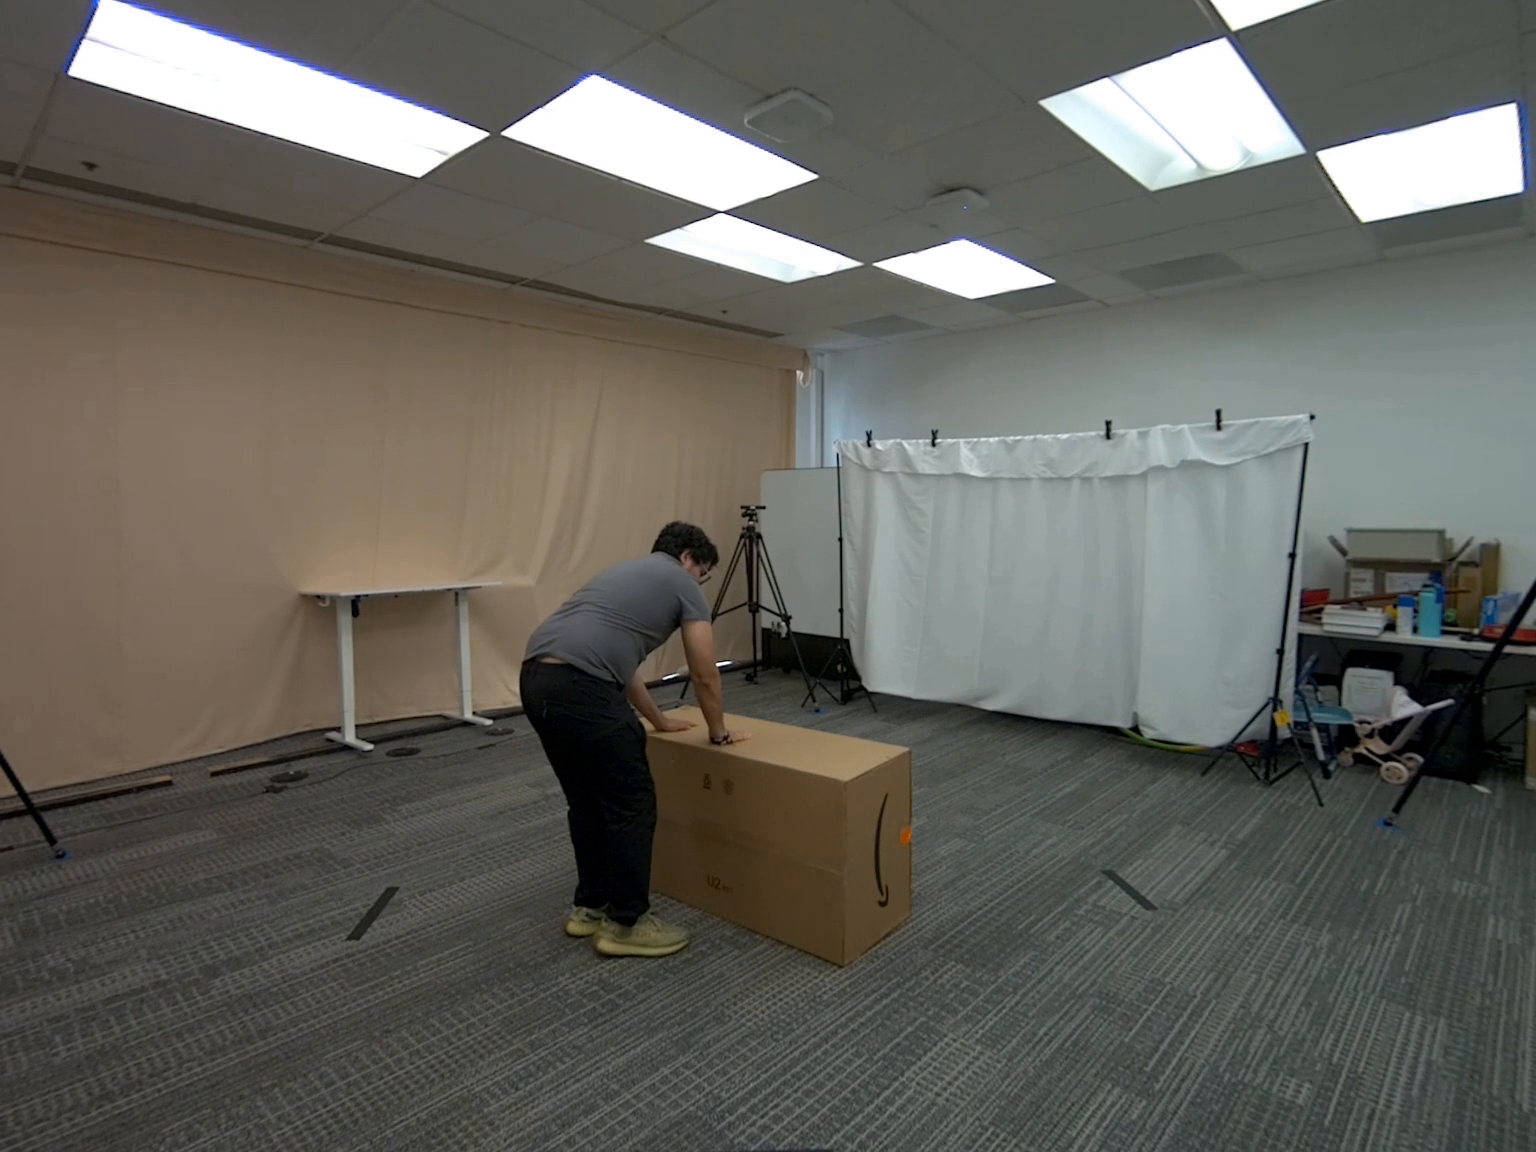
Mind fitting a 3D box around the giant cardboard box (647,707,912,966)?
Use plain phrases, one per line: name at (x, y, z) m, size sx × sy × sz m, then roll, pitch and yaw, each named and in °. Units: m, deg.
giant cardboard box at (-0.045, 0.854, 3.003) m, size 1.059 × 0.576 × 0.413 m, roll 3°, pitch 5°, yaw 39°
